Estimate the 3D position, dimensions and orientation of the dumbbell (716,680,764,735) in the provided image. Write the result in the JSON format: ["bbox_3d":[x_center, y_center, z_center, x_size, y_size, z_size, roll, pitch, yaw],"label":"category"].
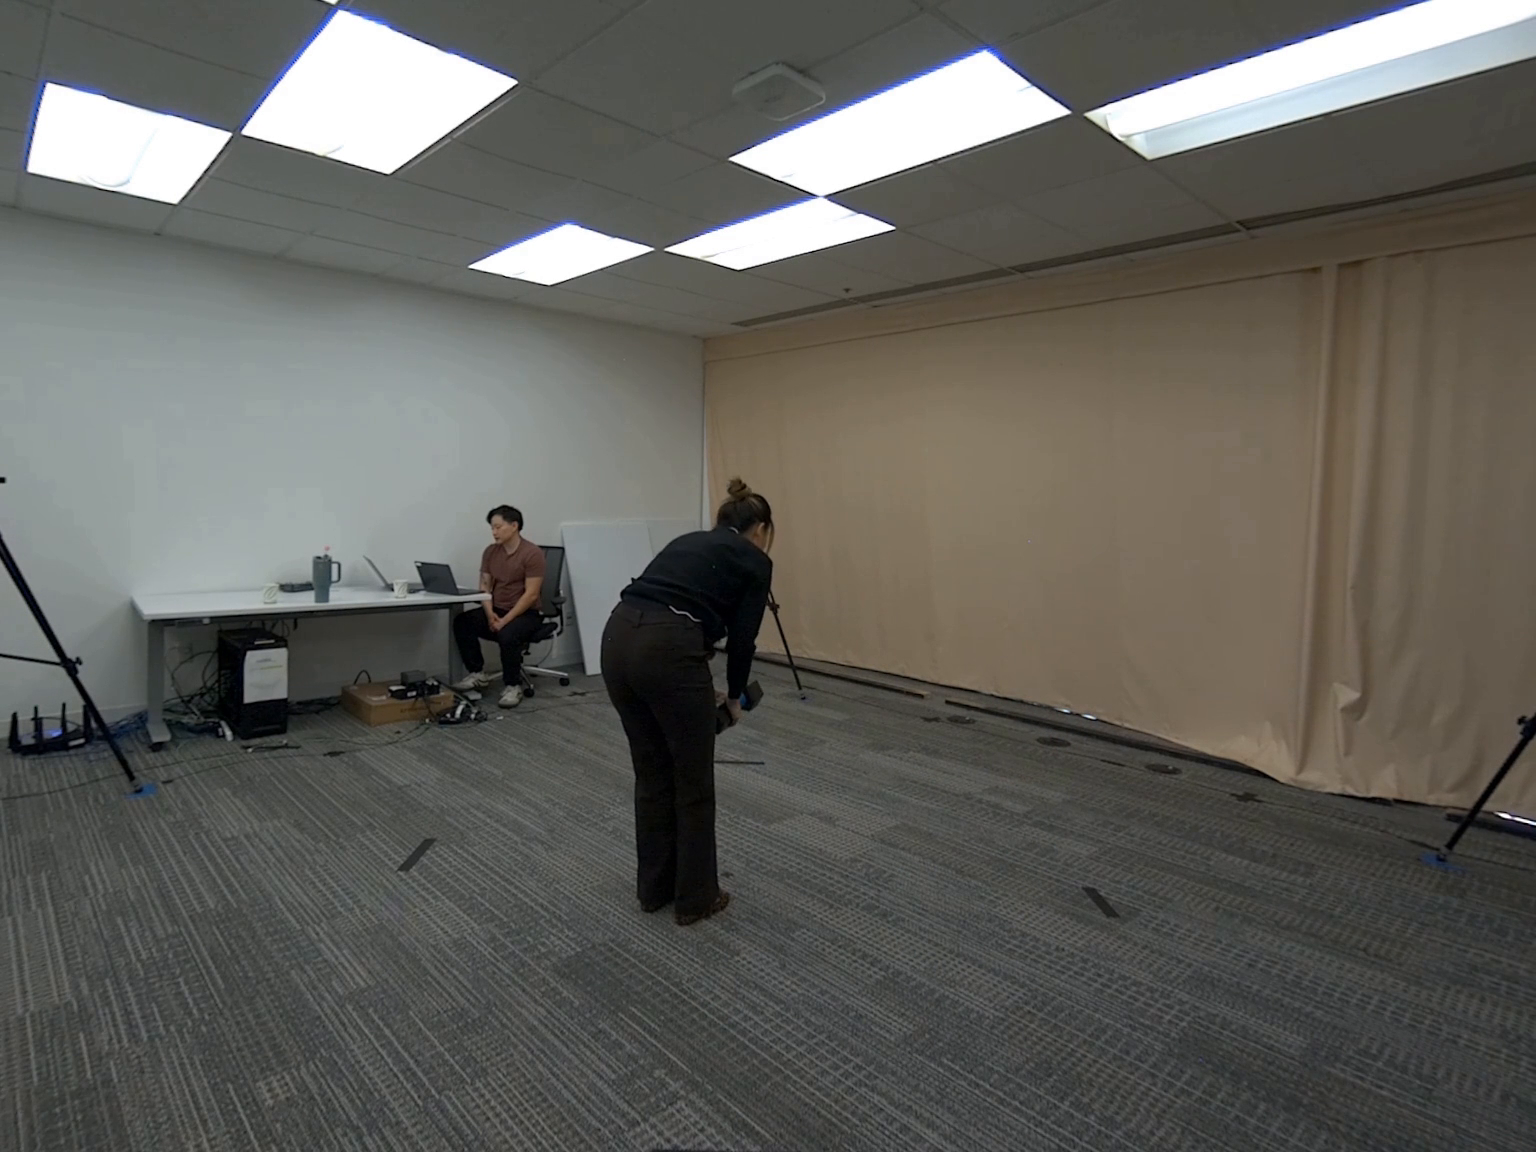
[{"bbox_3d":[-0.132,0.469,3.030,0.110,0.123,0.290,-25,1,32],"label":"dumbbell"}]
